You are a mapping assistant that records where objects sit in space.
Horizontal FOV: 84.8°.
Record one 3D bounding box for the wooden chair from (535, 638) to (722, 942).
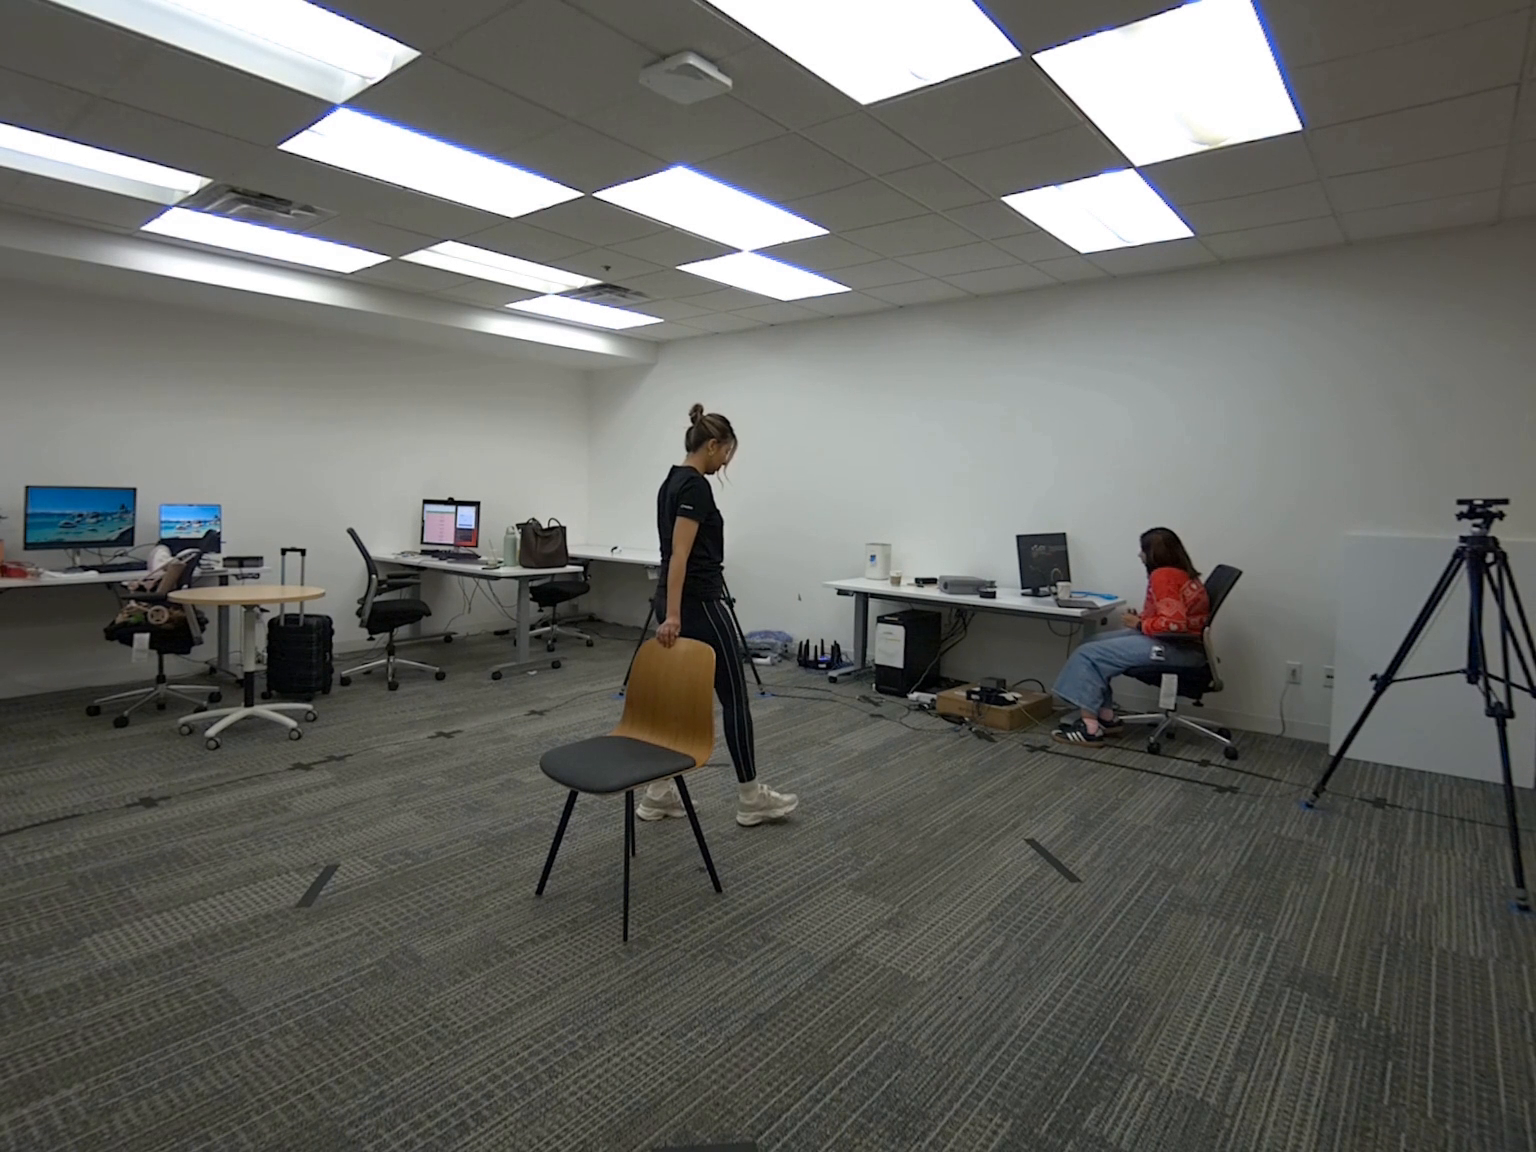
[{"bbox_3d":[-0.478,0.661,2.876,0.494,0.878,0.506,4,0,40],"label":"wooden chair"}]
